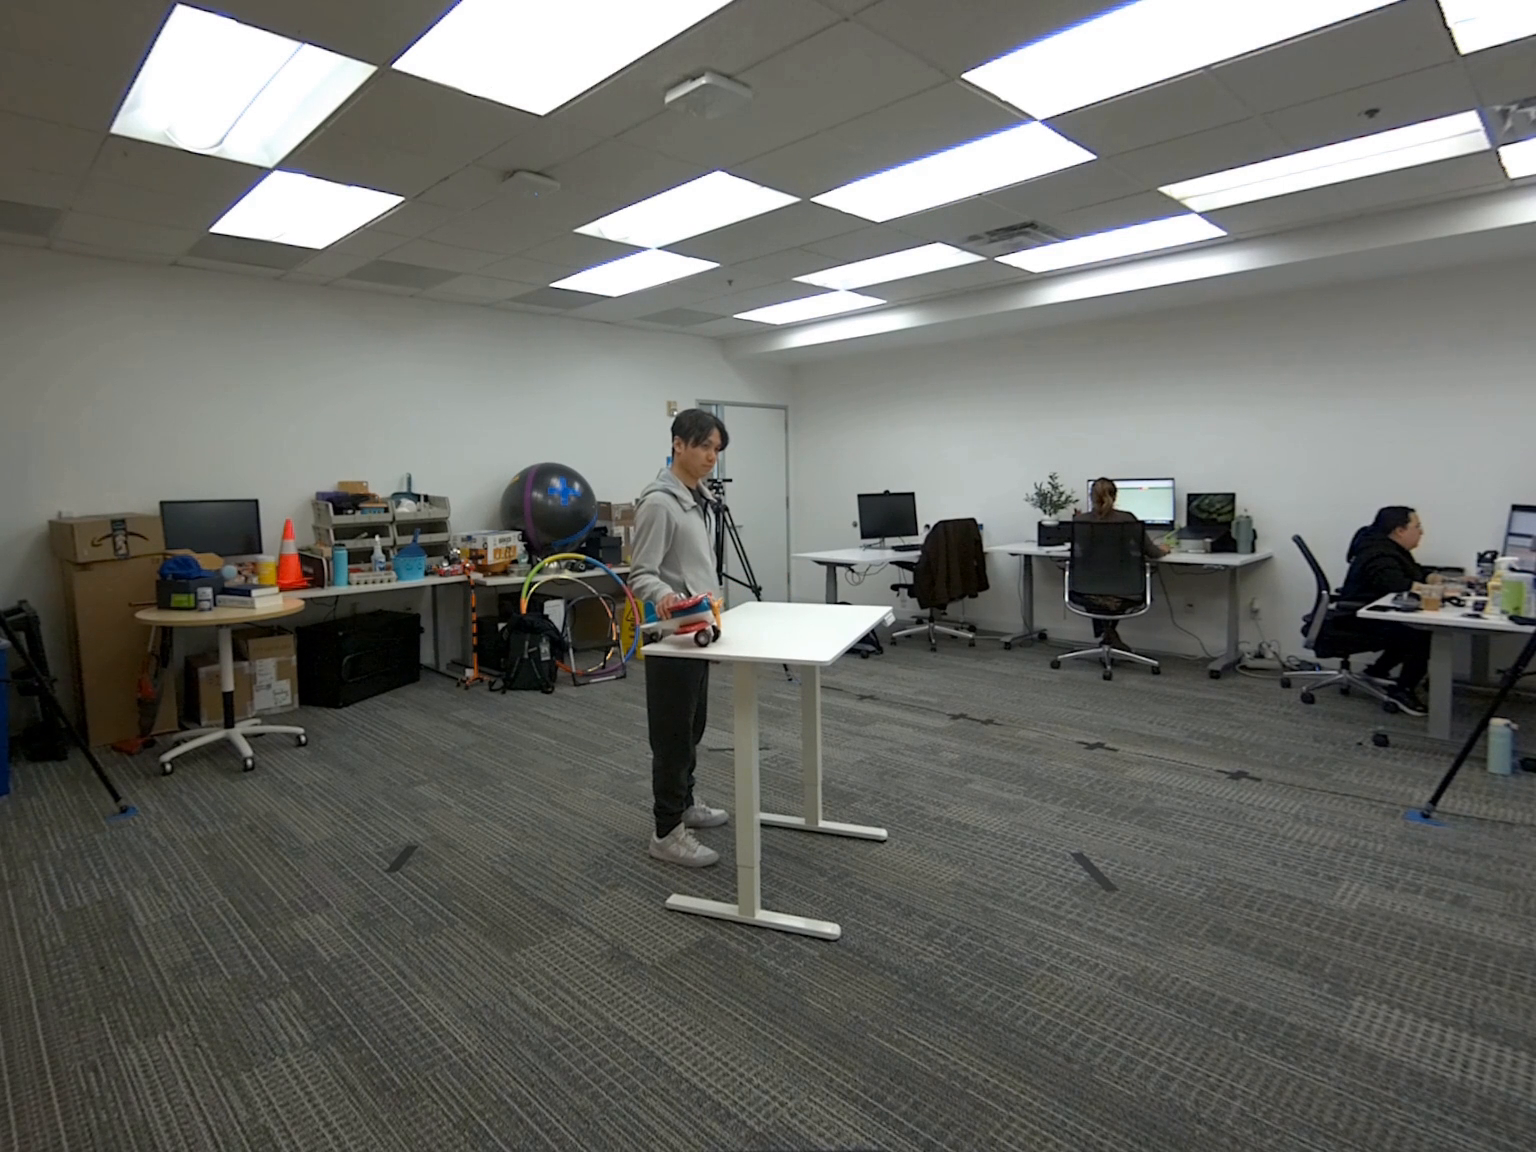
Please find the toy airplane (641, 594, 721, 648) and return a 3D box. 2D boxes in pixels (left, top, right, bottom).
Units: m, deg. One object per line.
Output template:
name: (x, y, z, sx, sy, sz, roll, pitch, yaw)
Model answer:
toy airplane: (-0.268, 0.142, 2.691, 0.256, 0.156, 0.255, -2, 5, -12)
